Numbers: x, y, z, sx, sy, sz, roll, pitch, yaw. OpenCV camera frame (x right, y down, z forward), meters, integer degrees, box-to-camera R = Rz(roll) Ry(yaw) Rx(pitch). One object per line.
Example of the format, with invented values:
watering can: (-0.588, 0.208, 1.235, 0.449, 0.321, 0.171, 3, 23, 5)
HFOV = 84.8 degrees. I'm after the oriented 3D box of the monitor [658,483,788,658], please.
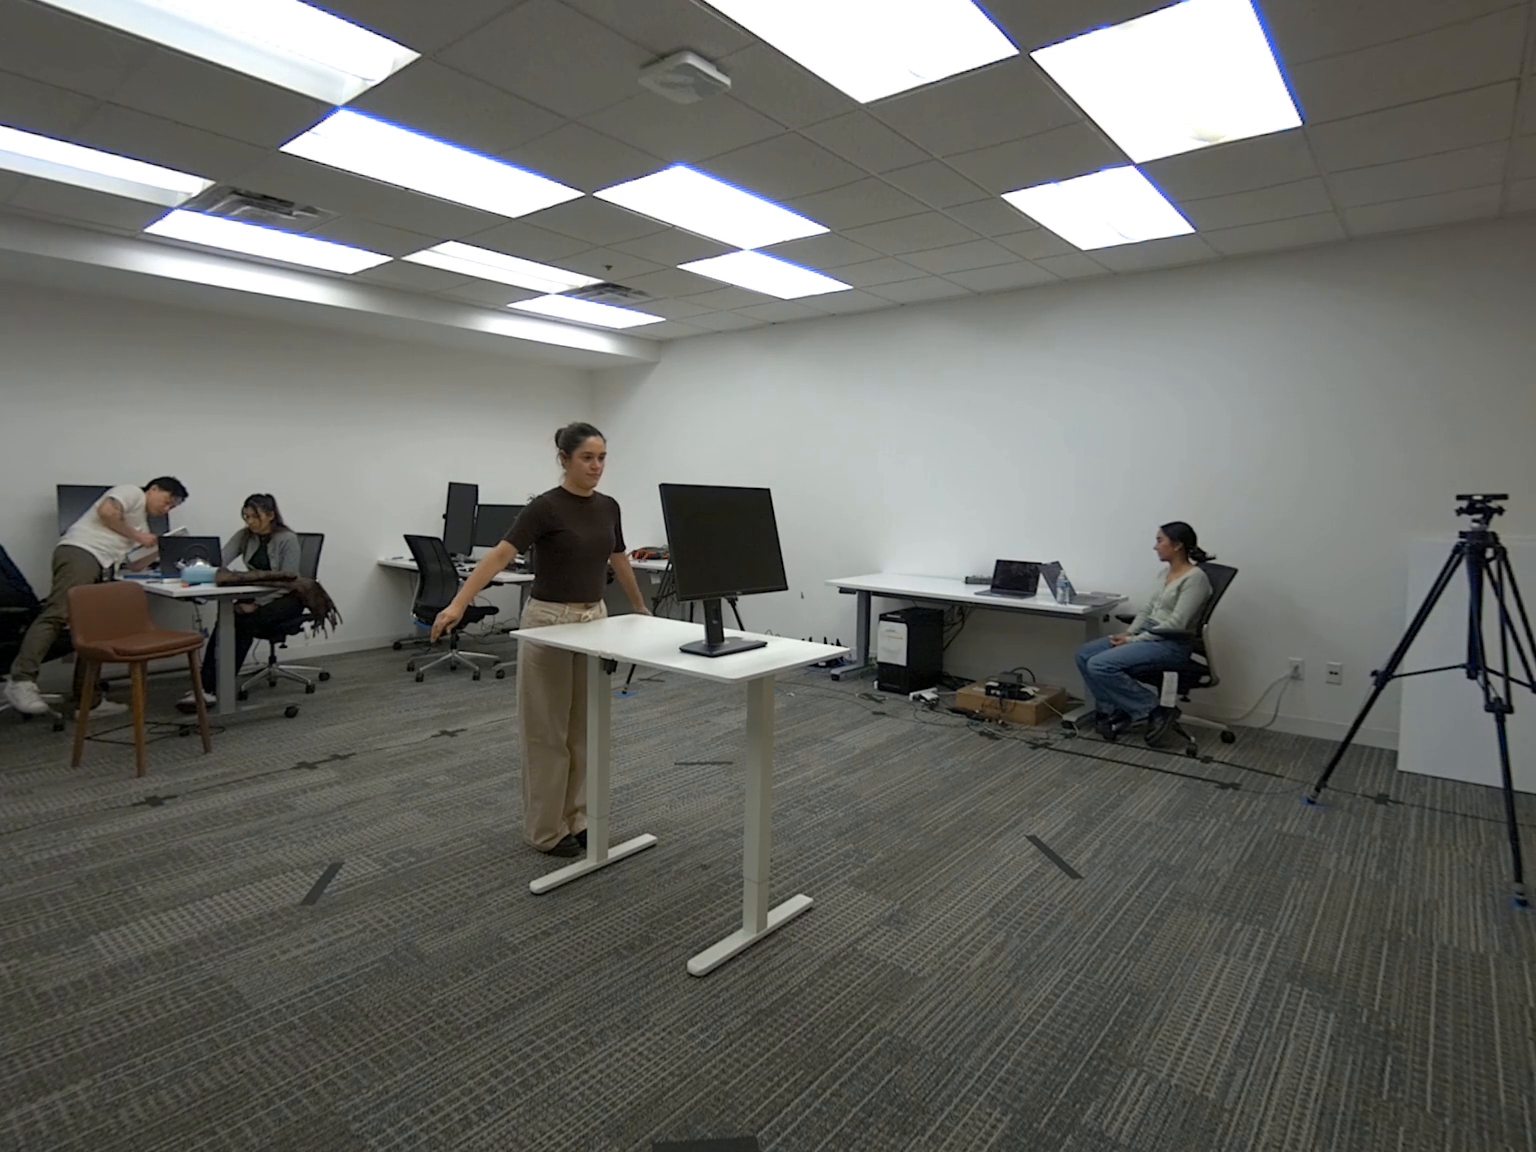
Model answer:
monitor: (-0.156, -0.028, 2.679, 0.180, 0.514, 0.514, 6, 5, 36)
